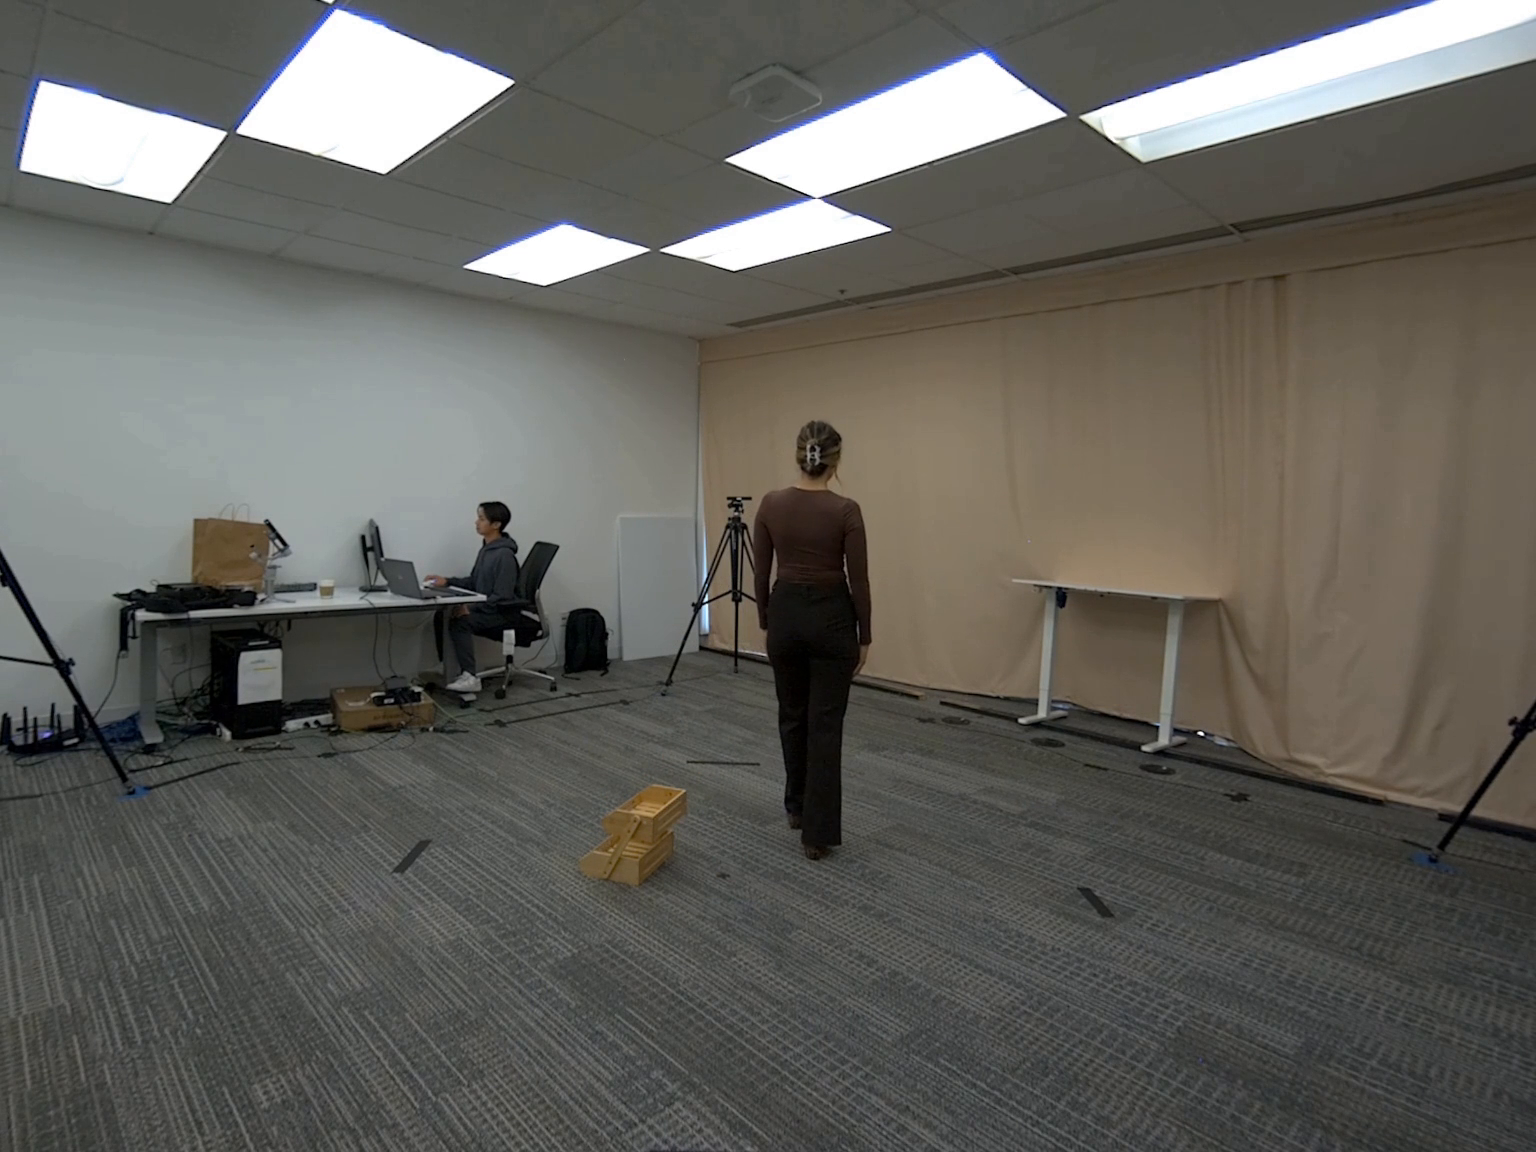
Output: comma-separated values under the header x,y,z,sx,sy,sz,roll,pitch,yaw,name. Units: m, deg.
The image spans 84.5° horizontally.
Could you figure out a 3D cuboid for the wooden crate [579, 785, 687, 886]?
x,y,z,sx,sy,sz,roll,pitch,yaw,name
-0.518,0.957,3.172,0.307,0.272,0.320,3,5,19,wooden crate
